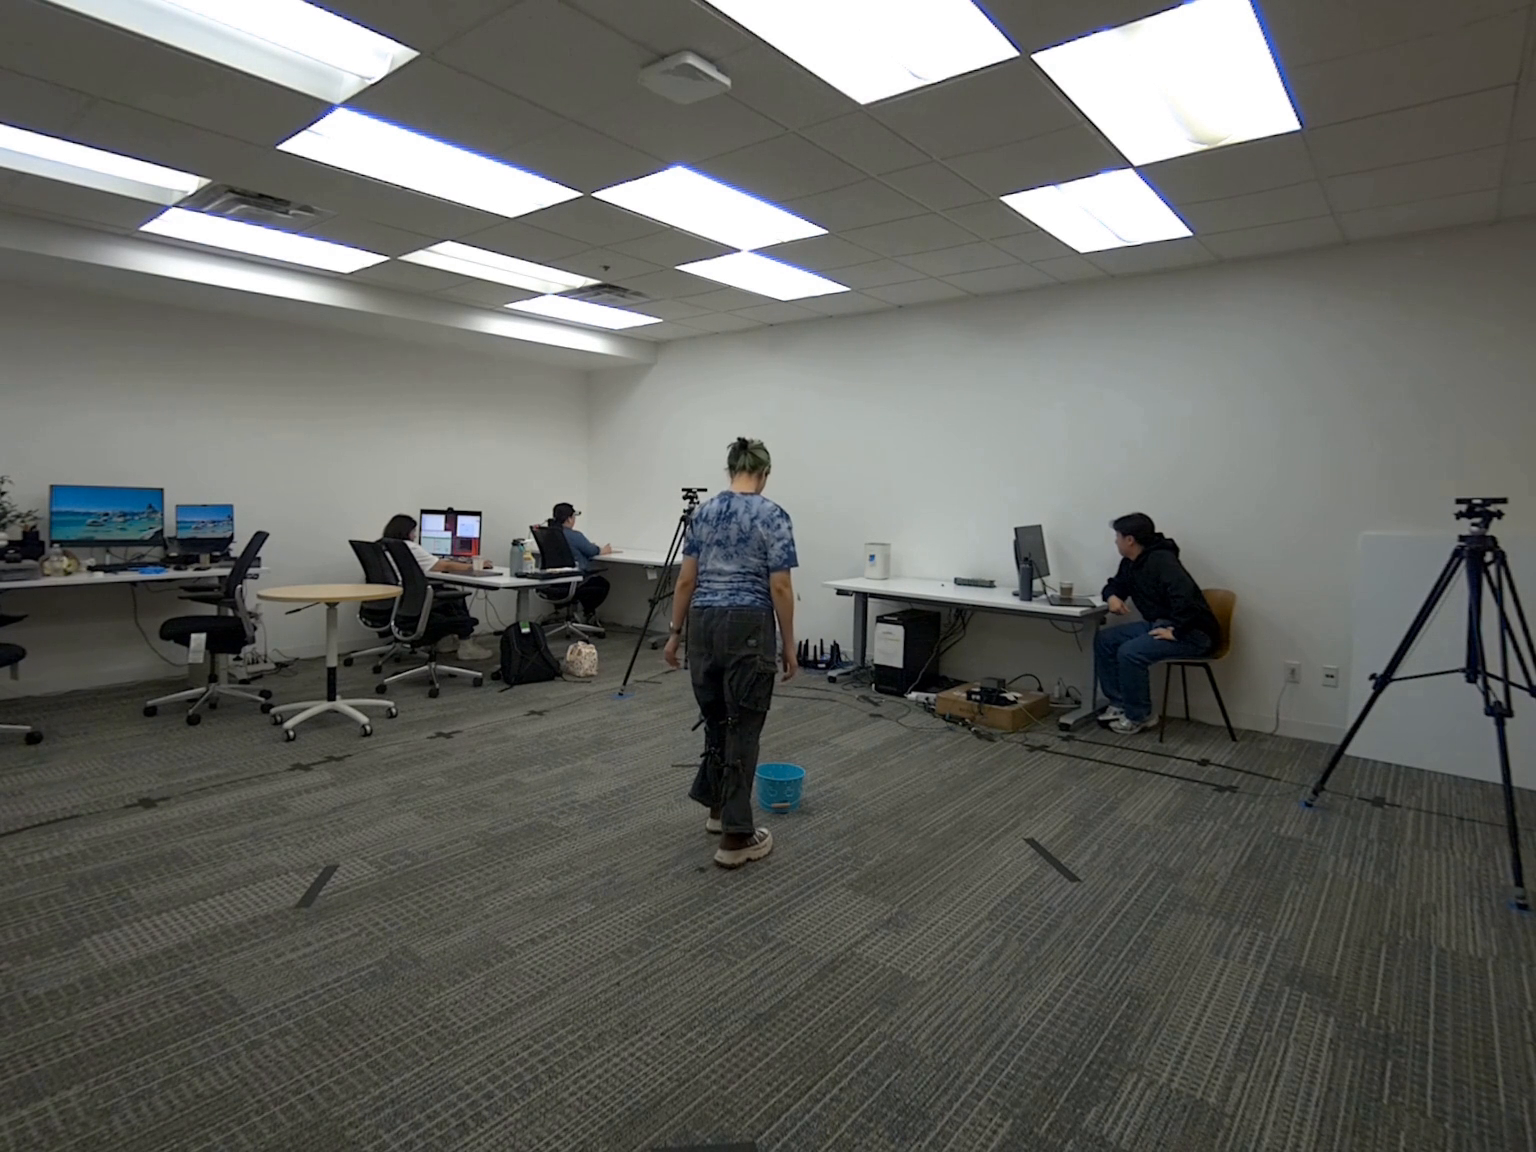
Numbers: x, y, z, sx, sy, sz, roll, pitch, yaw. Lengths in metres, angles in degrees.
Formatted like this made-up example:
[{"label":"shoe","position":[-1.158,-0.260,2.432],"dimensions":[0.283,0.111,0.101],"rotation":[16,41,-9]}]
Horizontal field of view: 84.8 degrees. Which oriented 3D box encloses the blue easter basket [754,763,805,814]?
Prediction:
[{"label":"blue easter basket","position":[0.030,0.931,3.763],"dimensions":[0.243,0.155,0.245],"rotation":[1,5,-2]}]
